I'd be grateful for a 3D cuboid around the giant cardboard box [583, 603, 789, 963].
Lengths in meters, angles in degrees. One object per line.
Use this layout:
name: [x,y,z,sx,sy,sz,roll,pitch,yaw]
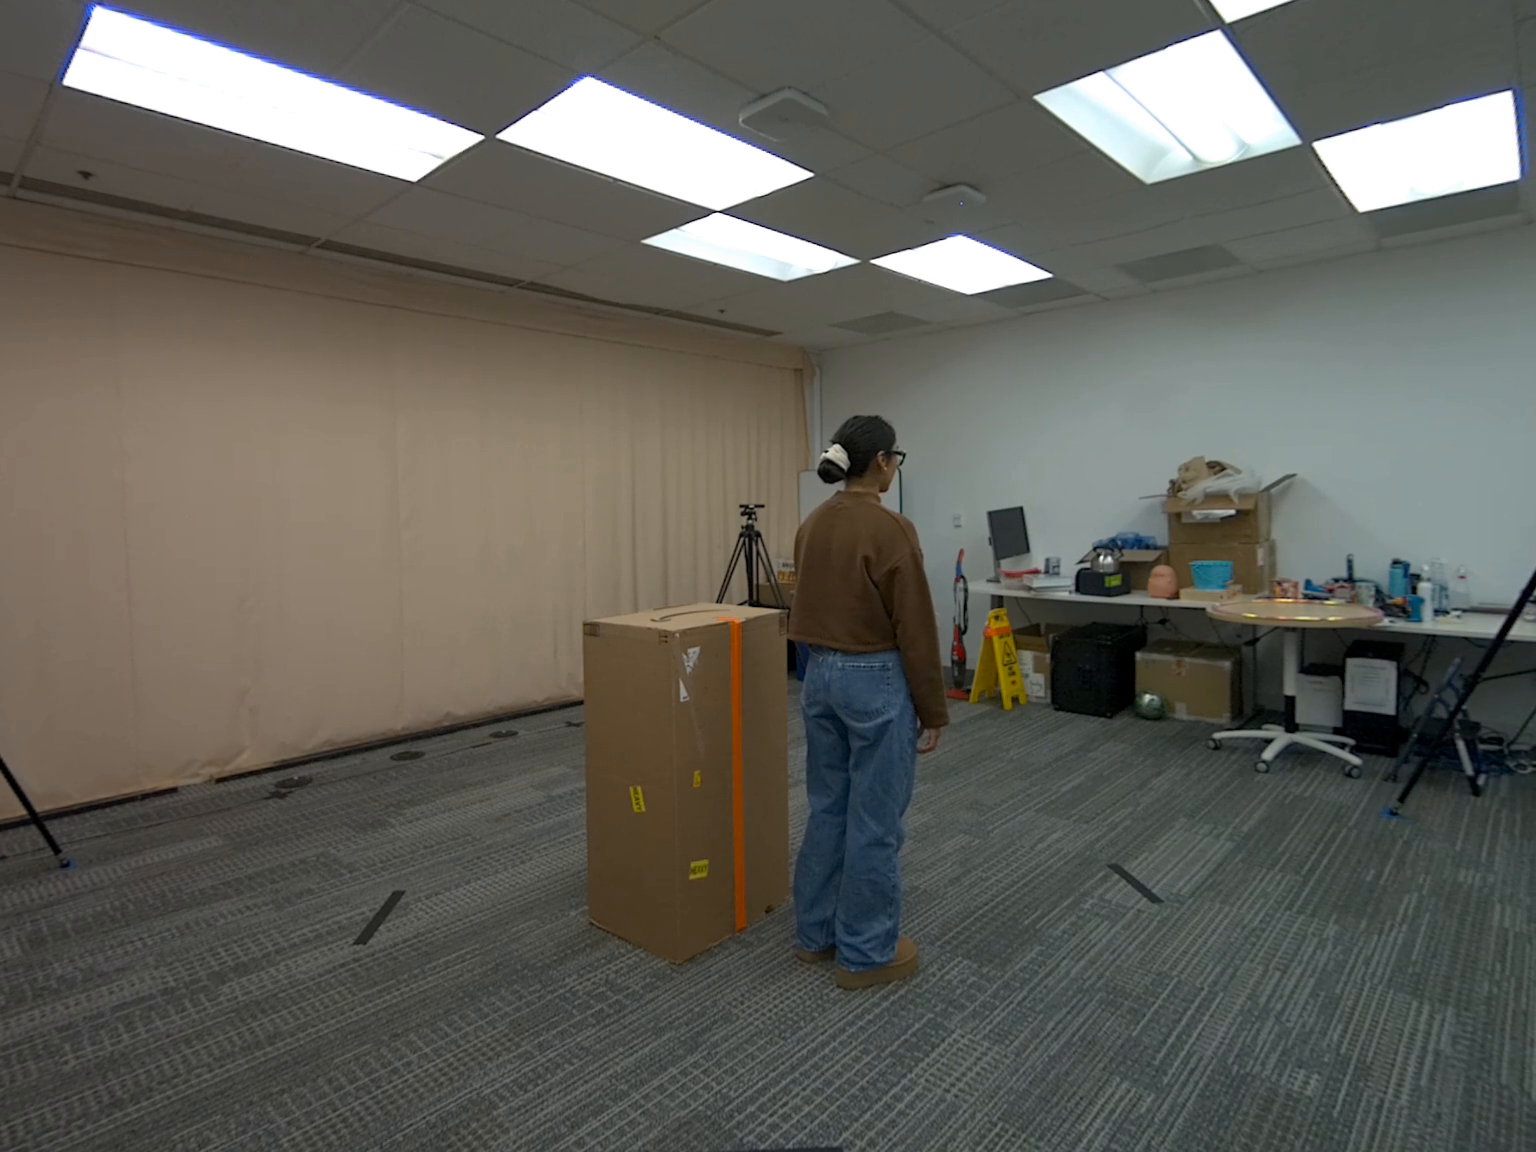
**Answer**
giant cardboard box: [-0.265,0.645,2.879,0.440,1.023,0.560,2,5,40]
